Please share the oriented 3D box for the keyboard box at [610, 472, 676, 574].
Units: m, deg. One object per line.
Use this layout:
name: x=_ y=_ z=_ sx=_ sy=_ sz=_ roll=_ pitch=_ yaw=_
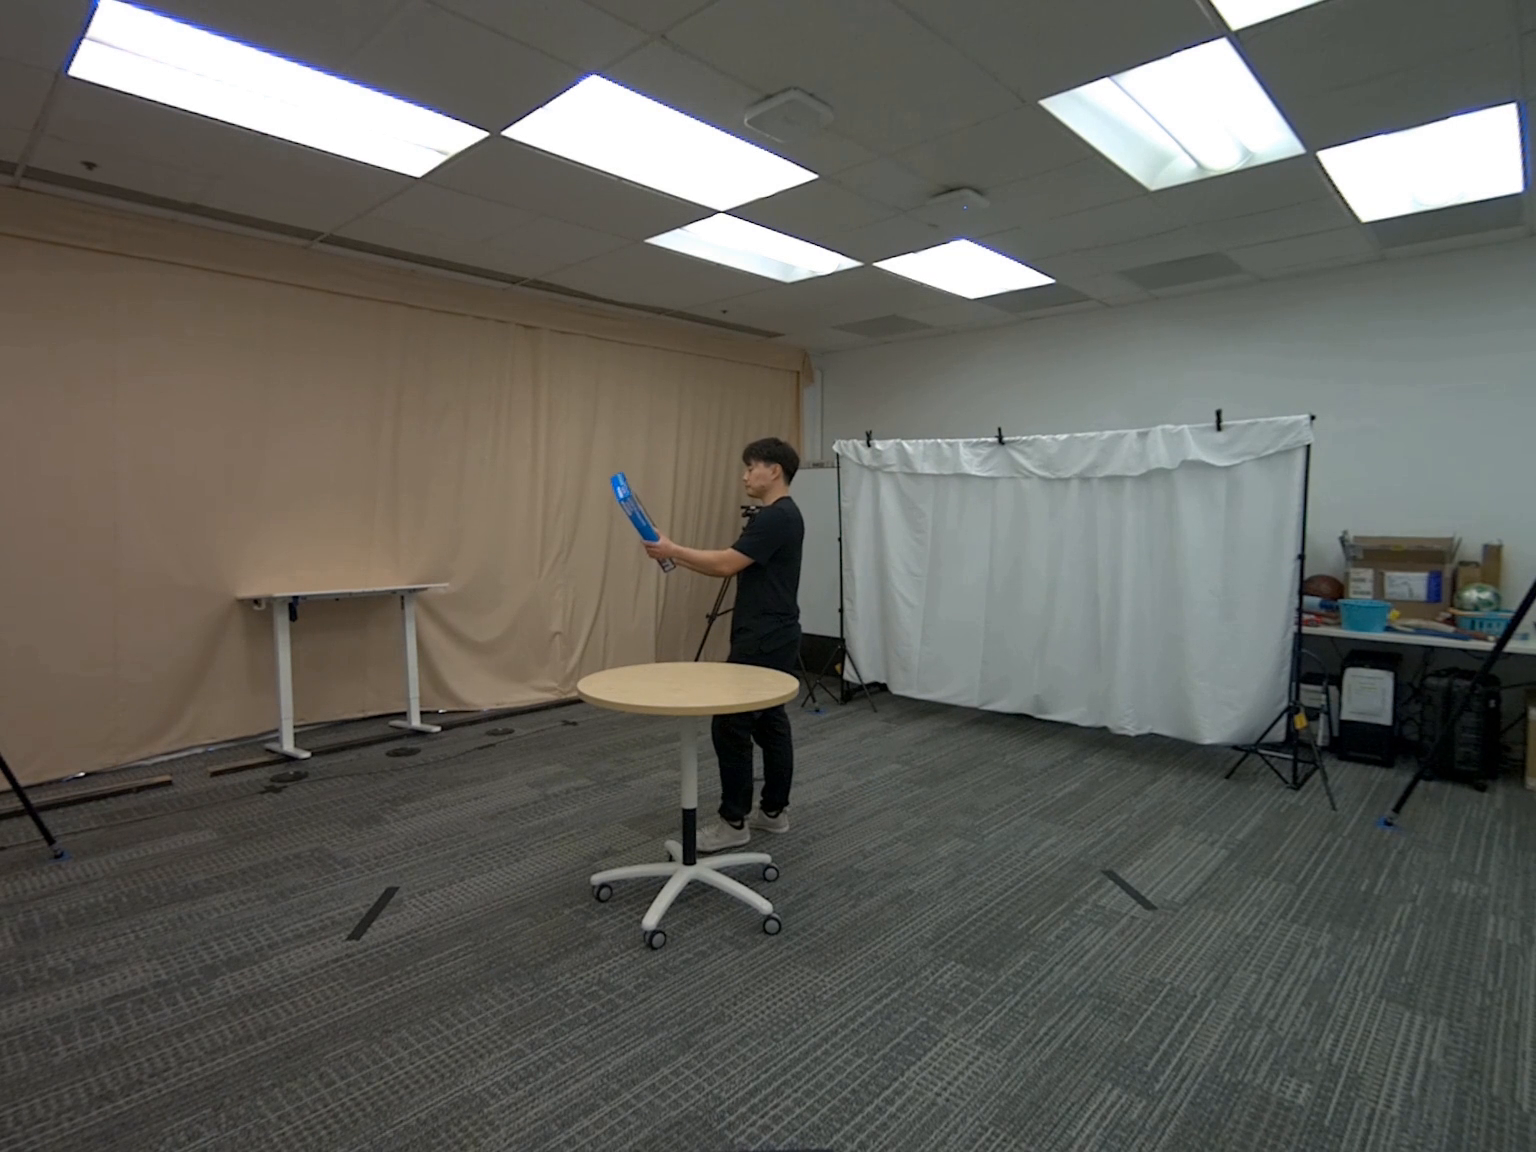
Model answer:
keyboard box: x=-0.512 y=-0.210 z=3.449 sx=0.059 sy=0.423 sz=0.181 roll=-28 pitch=42 yaw=-1
